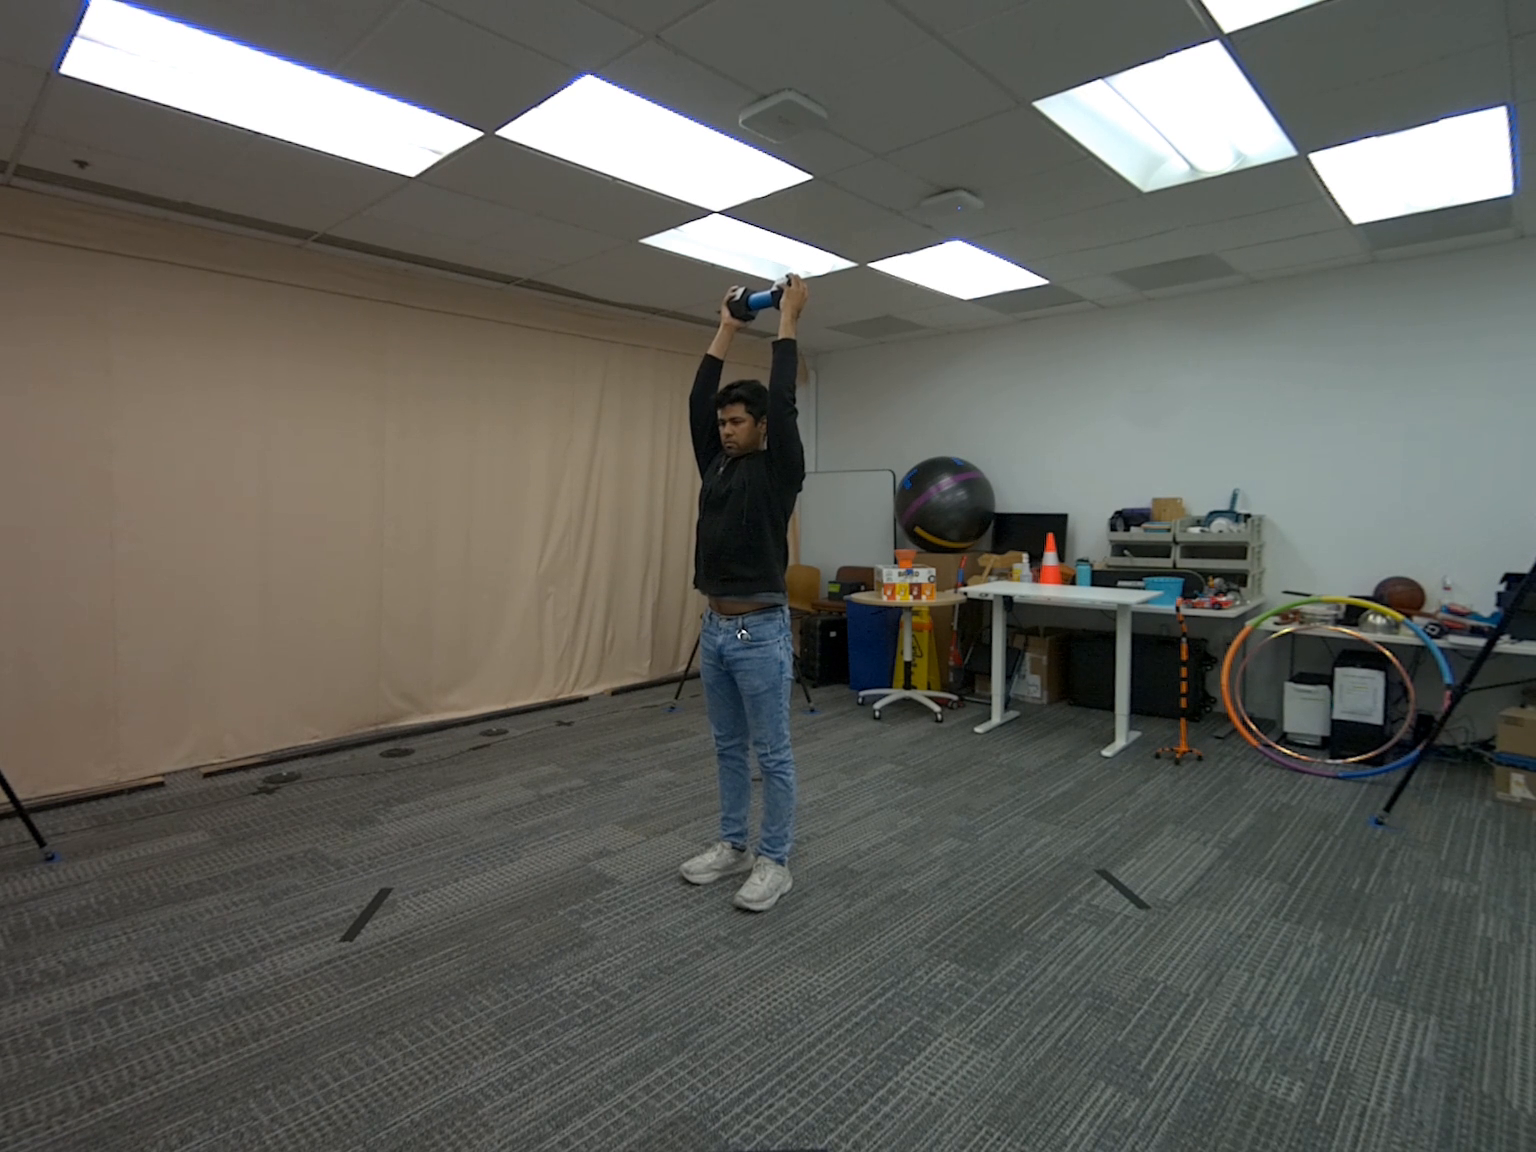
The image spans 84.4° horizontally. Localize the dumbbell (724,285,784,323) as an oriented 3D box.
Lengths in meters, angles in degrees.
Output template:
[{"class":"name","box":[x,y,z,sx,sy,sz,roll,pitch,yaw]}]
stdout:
[{"class":"dumbbell","box":[-0.010,-1.001,3.028,0.119,0.109,0.303,9,-3,-43]}]
